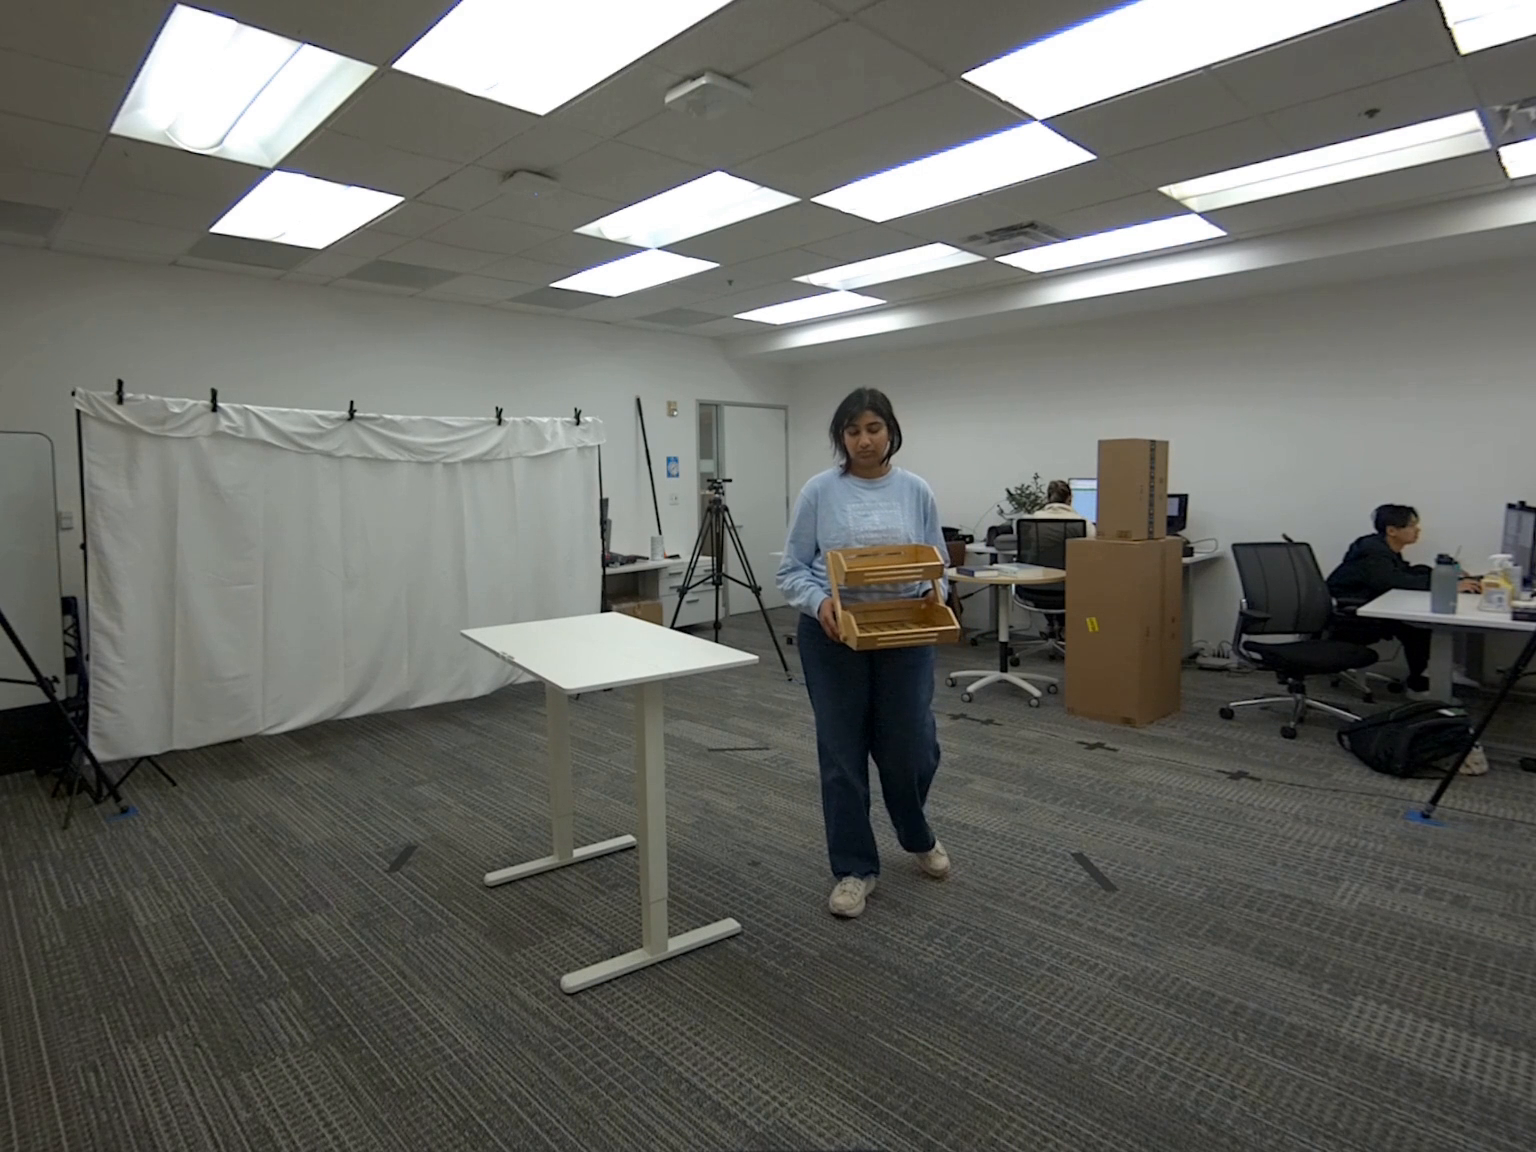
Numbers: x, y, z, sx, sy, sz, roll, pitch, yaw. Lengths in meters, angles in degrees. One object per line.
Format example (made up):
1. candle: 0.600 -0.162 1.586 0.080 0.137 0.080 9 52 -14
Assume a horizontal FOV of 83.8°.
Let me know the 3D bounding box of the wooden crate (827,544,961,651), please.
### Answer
1. wooden crate: 0.371 0.052 2.526 0.323 0.272 0.305 -4 5 -7
